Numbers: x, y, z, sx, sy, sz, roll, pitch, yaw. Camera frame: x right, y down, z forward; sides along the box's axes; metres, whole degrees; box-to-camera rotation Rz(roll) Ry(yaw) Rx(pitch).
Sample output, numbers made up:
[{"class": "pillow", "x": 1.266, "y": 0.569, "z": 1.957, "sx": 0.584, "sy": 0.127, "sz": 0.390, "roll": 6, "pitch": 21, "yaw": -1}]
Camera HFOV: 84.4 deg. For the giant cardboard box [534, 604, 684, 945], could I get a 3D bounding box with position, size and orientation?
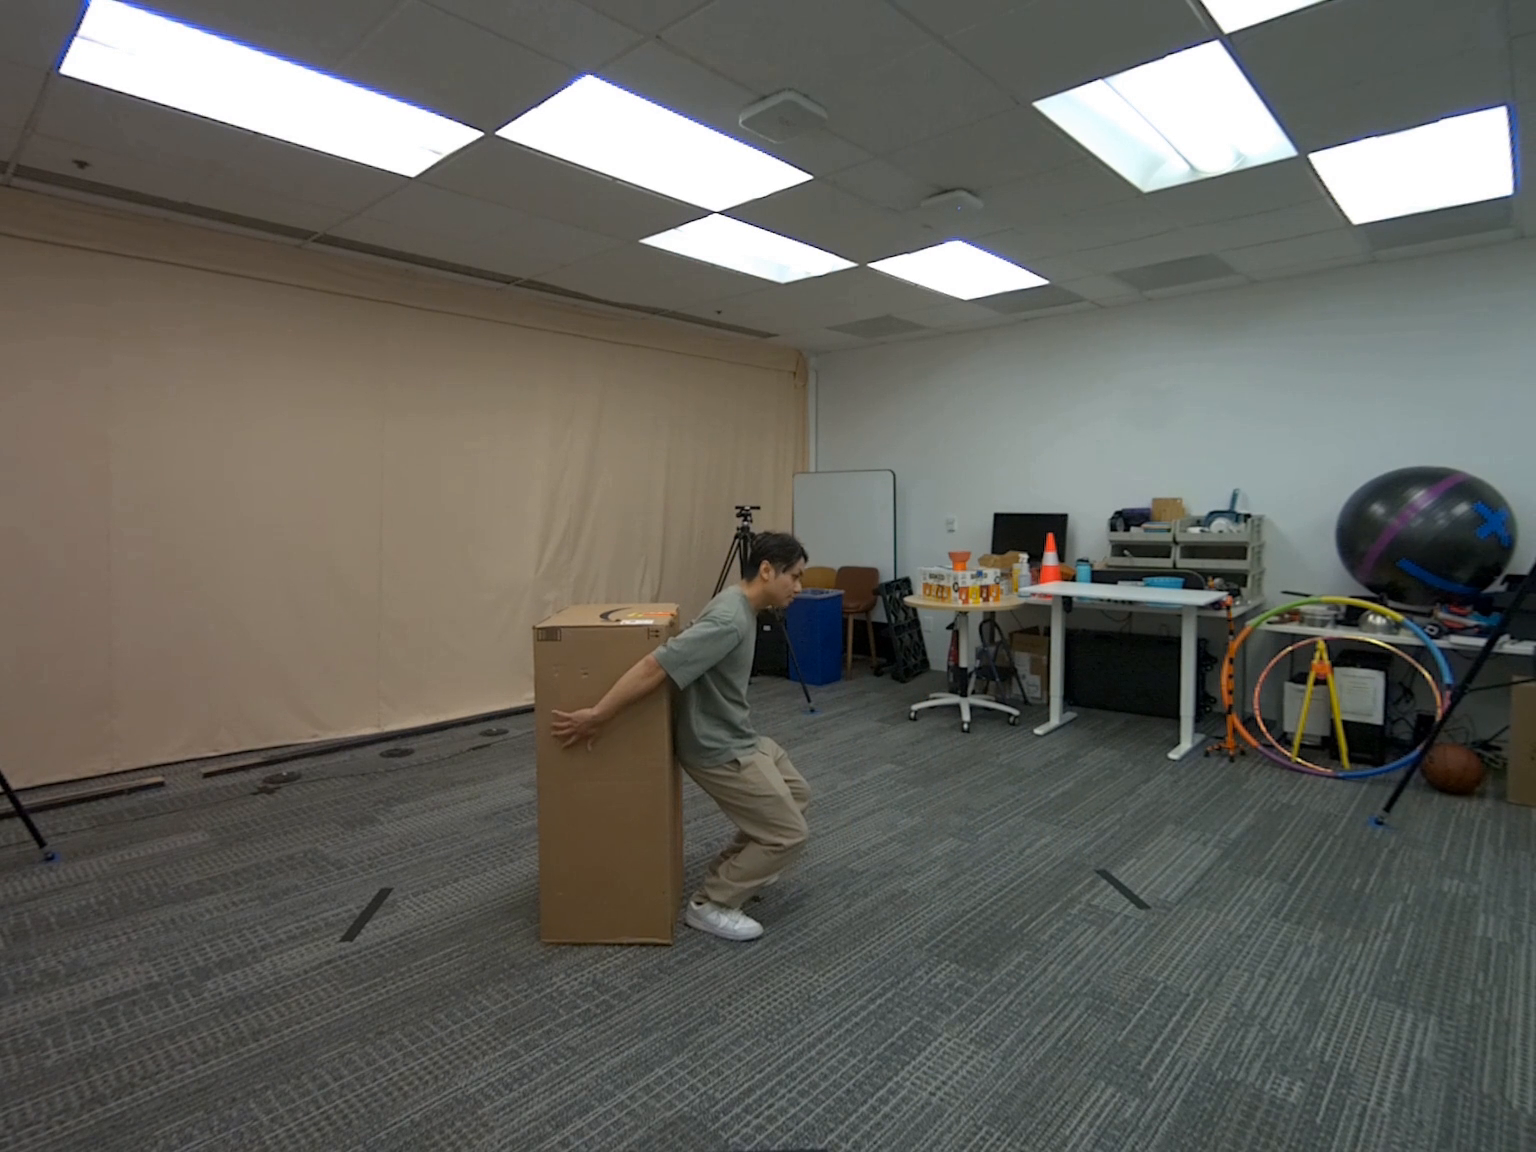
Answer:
[{"class": "giant cardboard box", "x": -0.537, "y": 0.643, "z": 2.938, "sx": 0.427, "sy": 1.024, "sz": 0.578, "roll": -1, "pitch": 3, "yaw": 0}]
